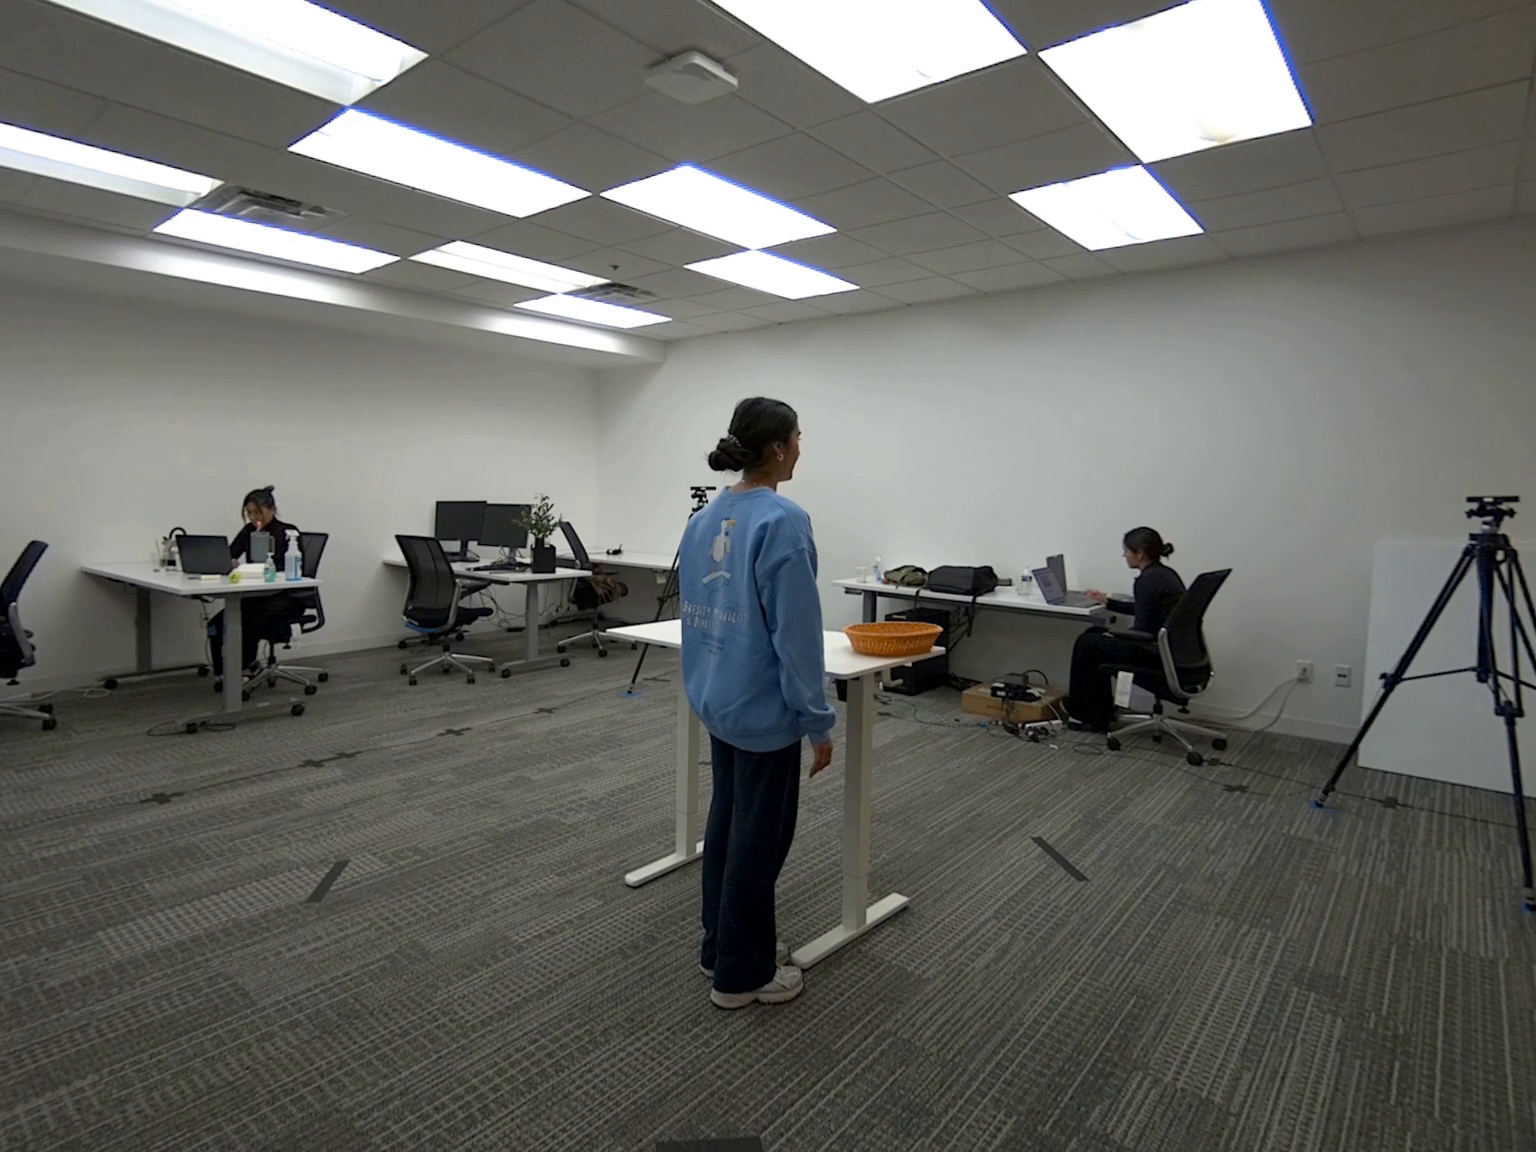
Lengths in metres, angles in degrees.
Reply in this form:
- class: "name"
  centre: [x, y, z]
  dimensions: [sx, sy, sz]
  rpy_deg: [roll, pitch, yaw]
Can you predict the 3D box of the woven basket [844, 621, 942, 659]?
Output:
- class: "woven basket"
  centre: [0.387, 0.205, 2.709]
  dimensions: [0.340, 0.073, 0.261]
  rpy_deg: [-3, 6, -36]
